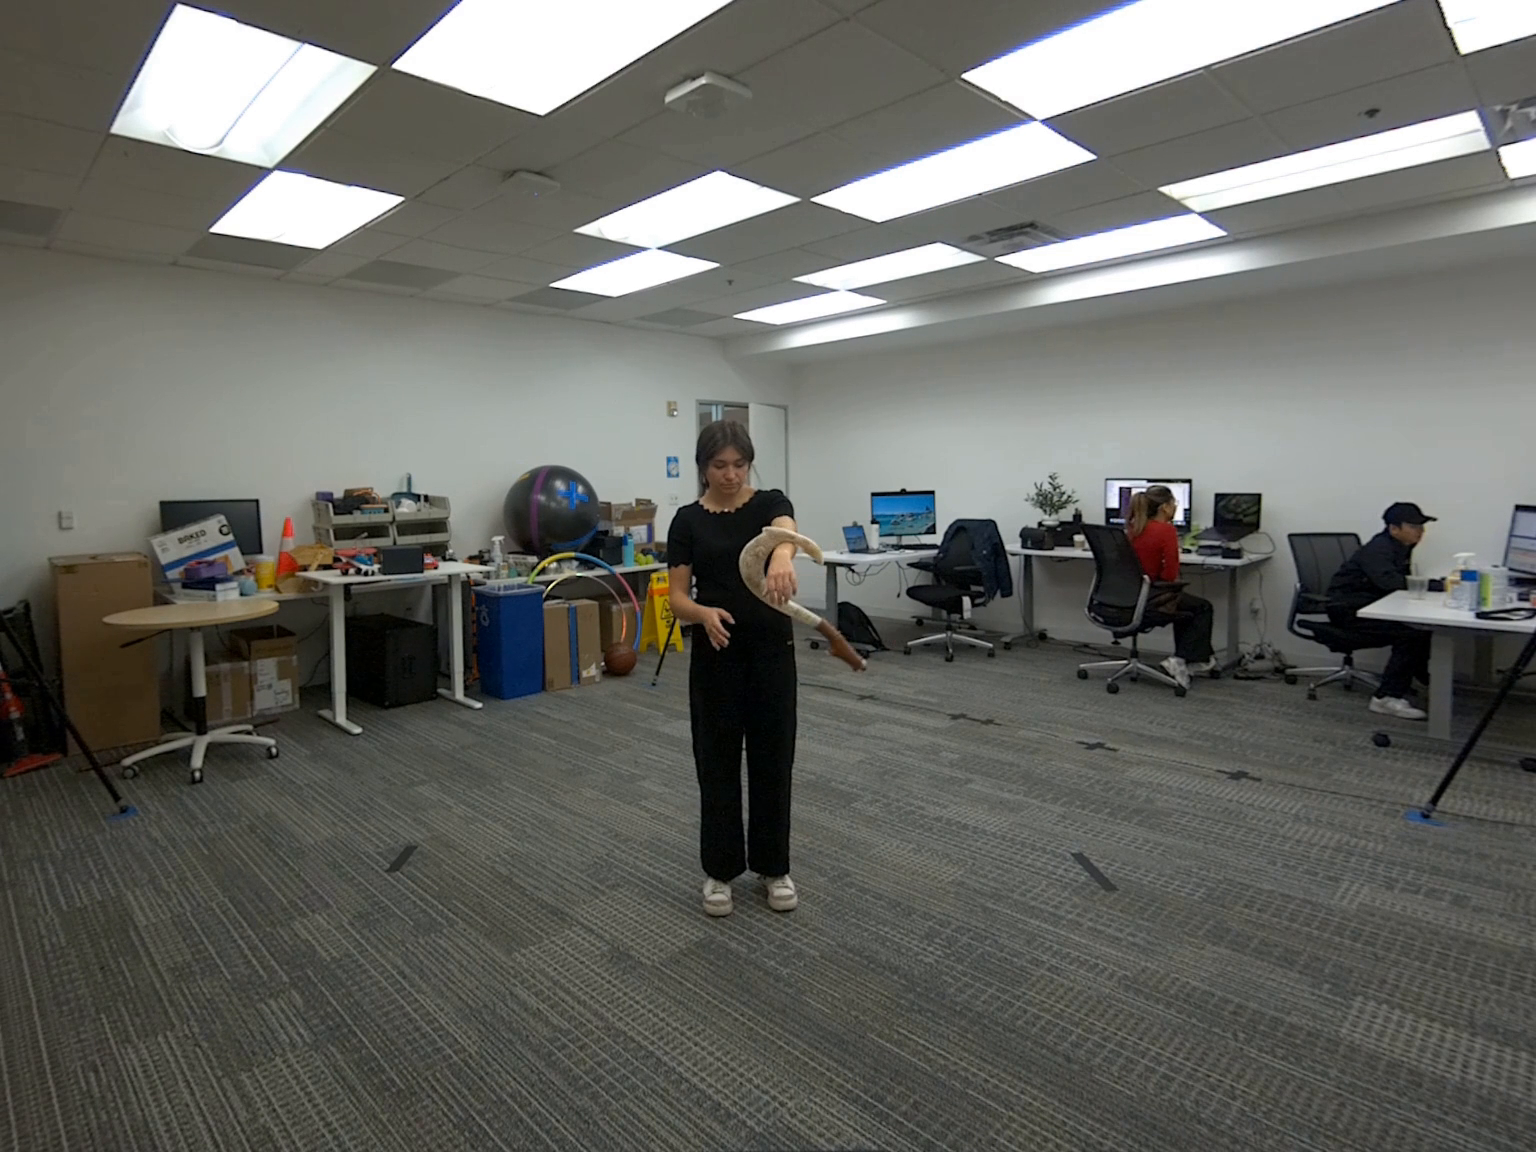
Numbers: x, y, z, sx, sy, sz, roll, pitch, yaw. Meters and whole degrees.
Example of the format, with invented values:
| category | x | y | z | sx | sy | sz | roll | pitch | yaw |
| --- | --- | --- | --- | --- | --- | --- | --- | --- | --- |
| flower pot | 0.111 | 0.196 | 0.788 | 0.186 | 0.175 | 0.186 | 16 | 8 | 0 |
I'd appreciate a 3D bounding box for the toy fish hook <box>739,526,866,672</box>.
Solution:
| category | x | y | z | sx | sy | sz | roll | pitch | yaw |
| --- | --- | --- | --- | --- | --- | --- | --- | --- | --- |
| toy fish hook | 0.134 | 0.066 | 2.449 | 0.225 | 0.501 | 0.049 | -45 | 8 | 10 |
